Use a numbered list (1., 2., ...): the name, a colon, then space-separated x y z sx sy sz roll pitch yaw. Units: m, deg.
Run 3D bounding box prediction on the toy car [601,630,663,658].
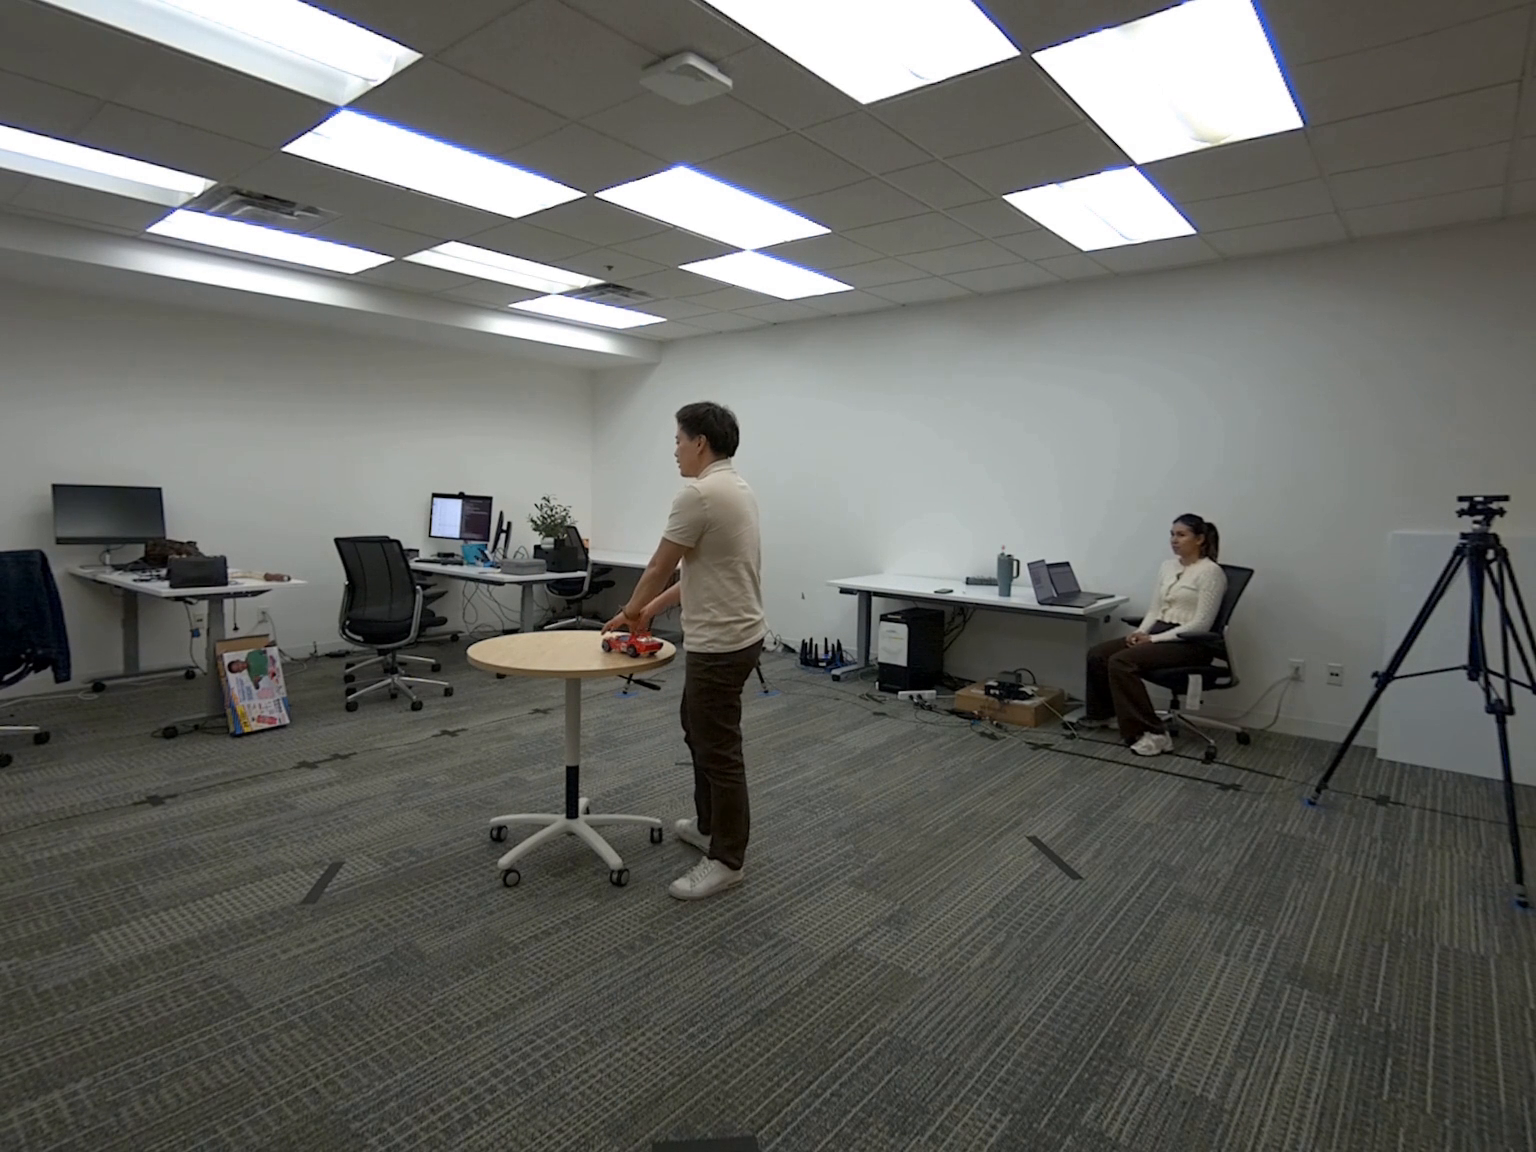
1. toy car: -0.500 0.252 3.100 0.261 0.083 0.126 -8 -2 42
